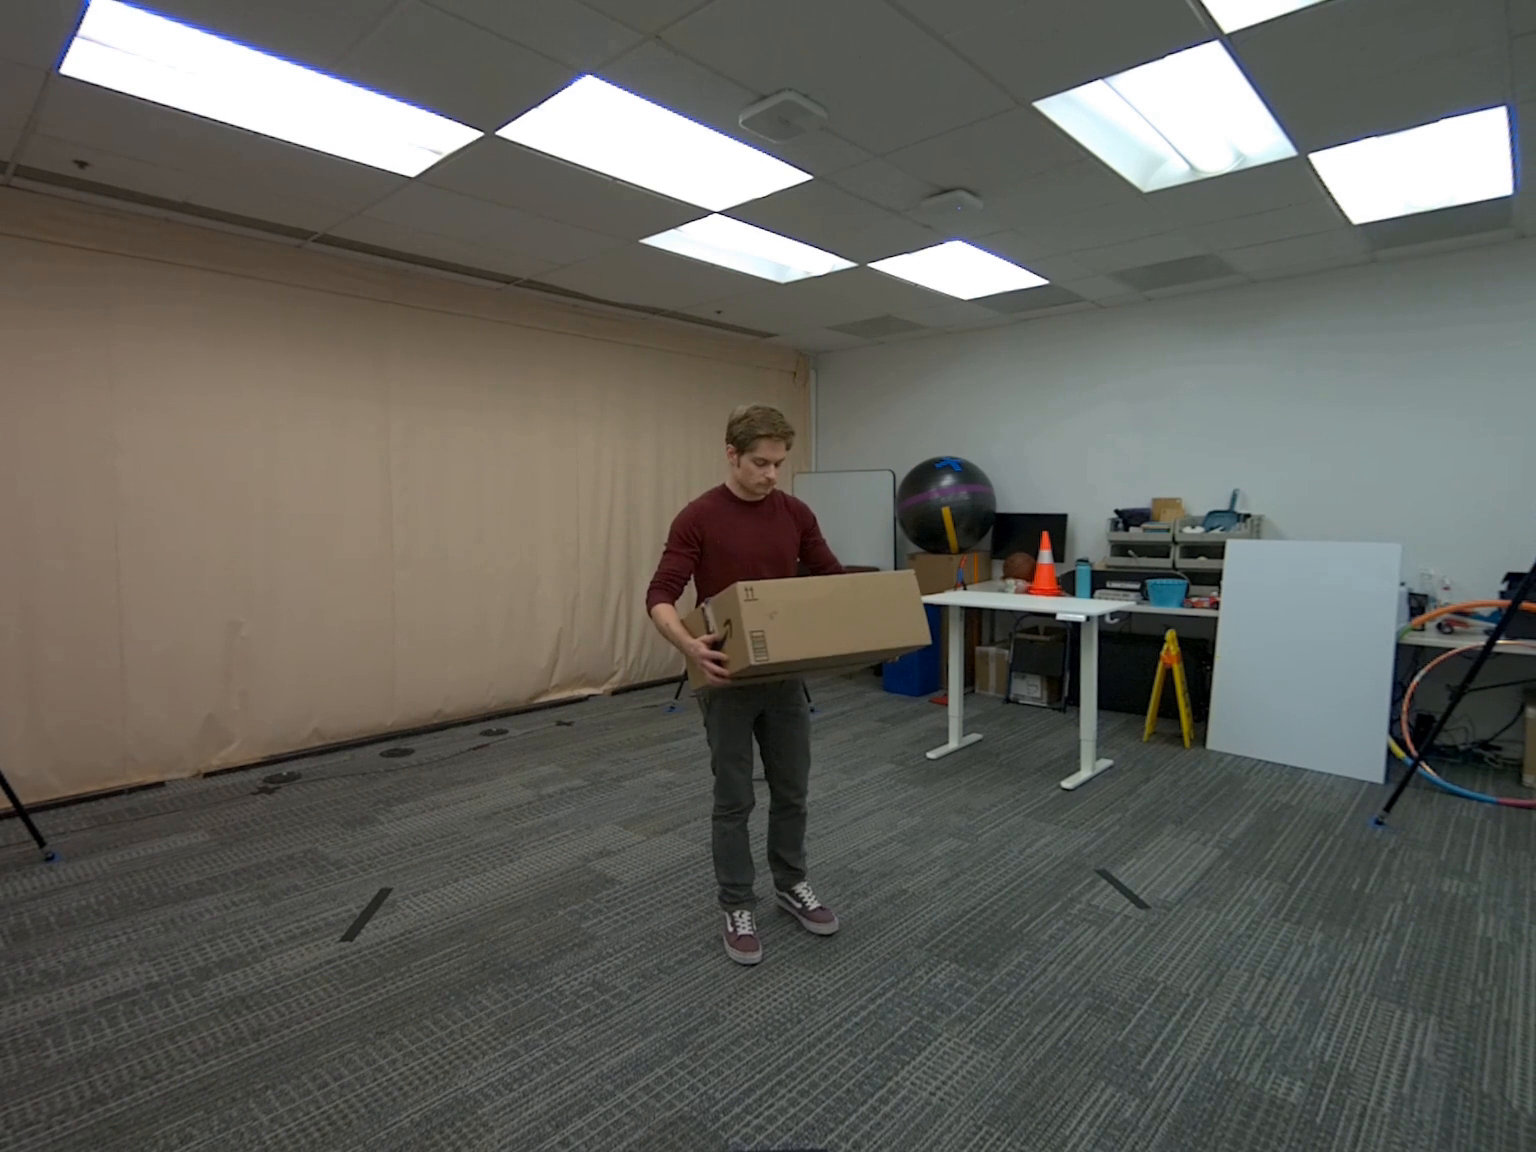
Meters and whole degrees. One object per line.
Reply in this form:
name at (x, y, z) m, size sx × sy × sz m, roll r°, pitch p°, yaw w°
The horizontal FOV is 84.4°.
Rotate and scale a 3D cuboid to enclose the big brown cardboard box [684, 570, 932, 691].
big brown cardboard box at (0.104, 0.157, 2.391) m, size 0.574 × 0.236 × 0.423 m, roll -4°, pitch -14°, yaw -28°
